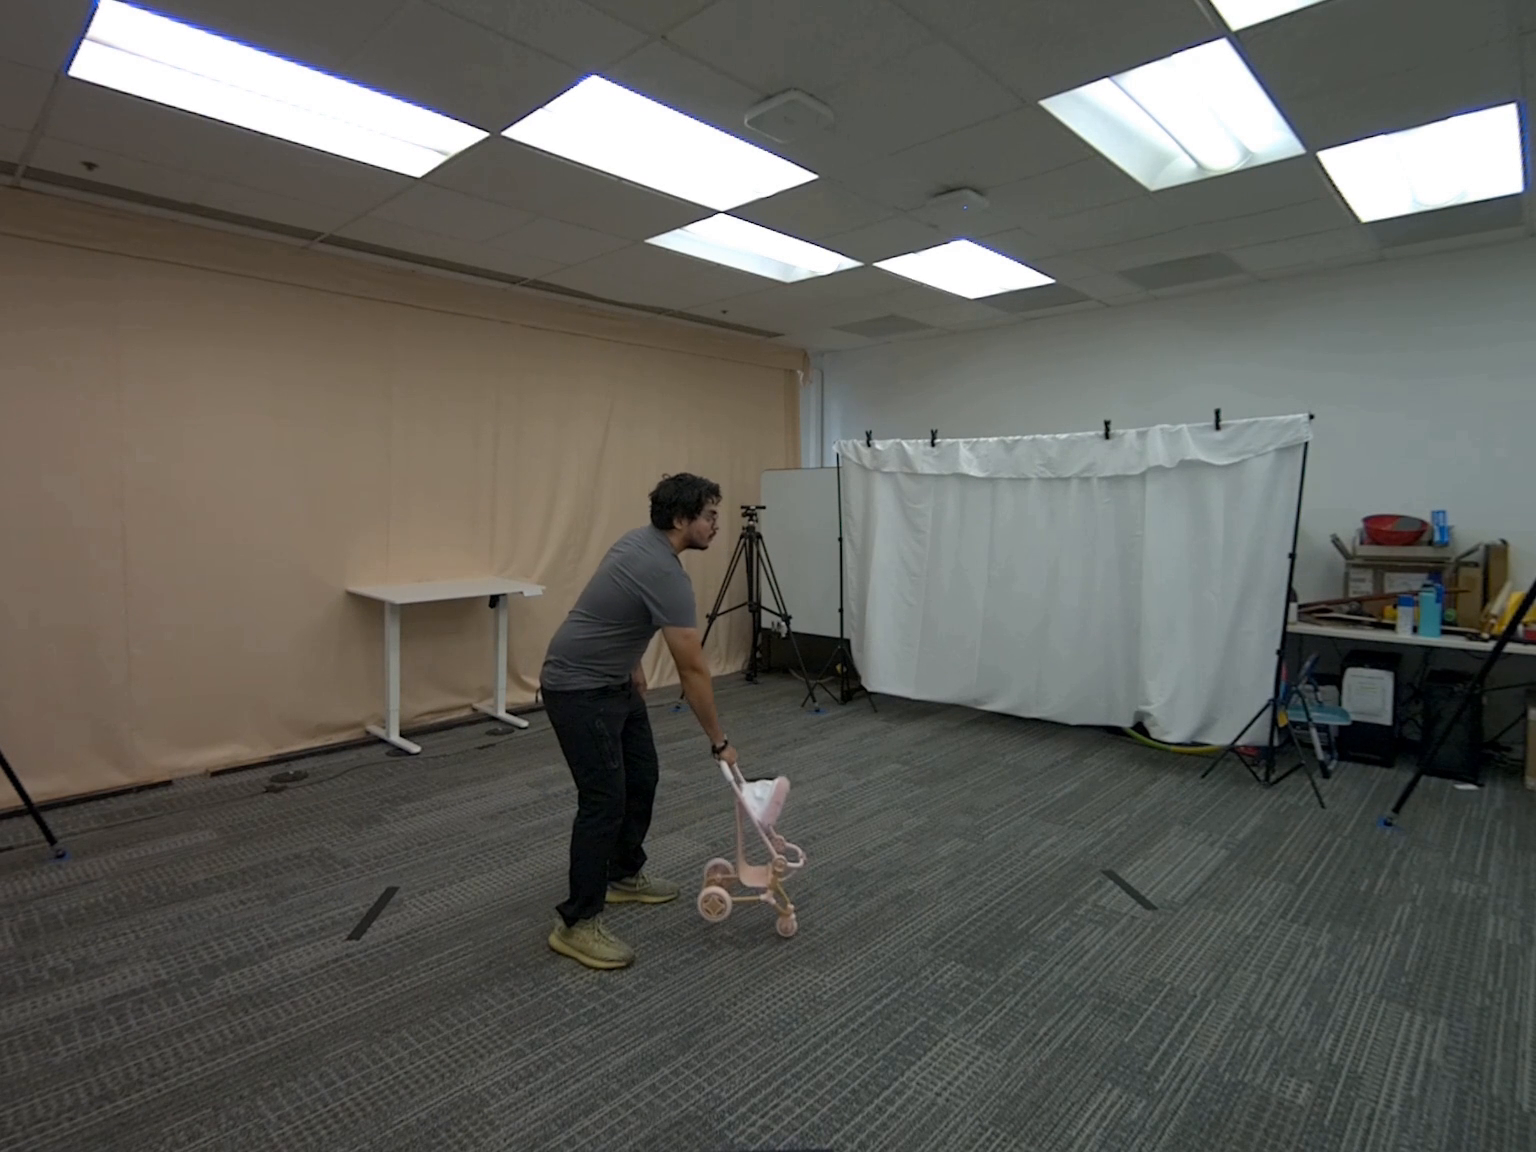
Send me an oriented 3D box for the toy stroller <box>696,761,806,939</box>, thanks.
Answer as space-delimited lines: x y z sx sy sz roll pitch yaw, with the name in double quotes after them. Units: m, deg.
-0.024 0.887 2.726 0.344 0.535 0.279 11 -2 6 "toy stroller"
